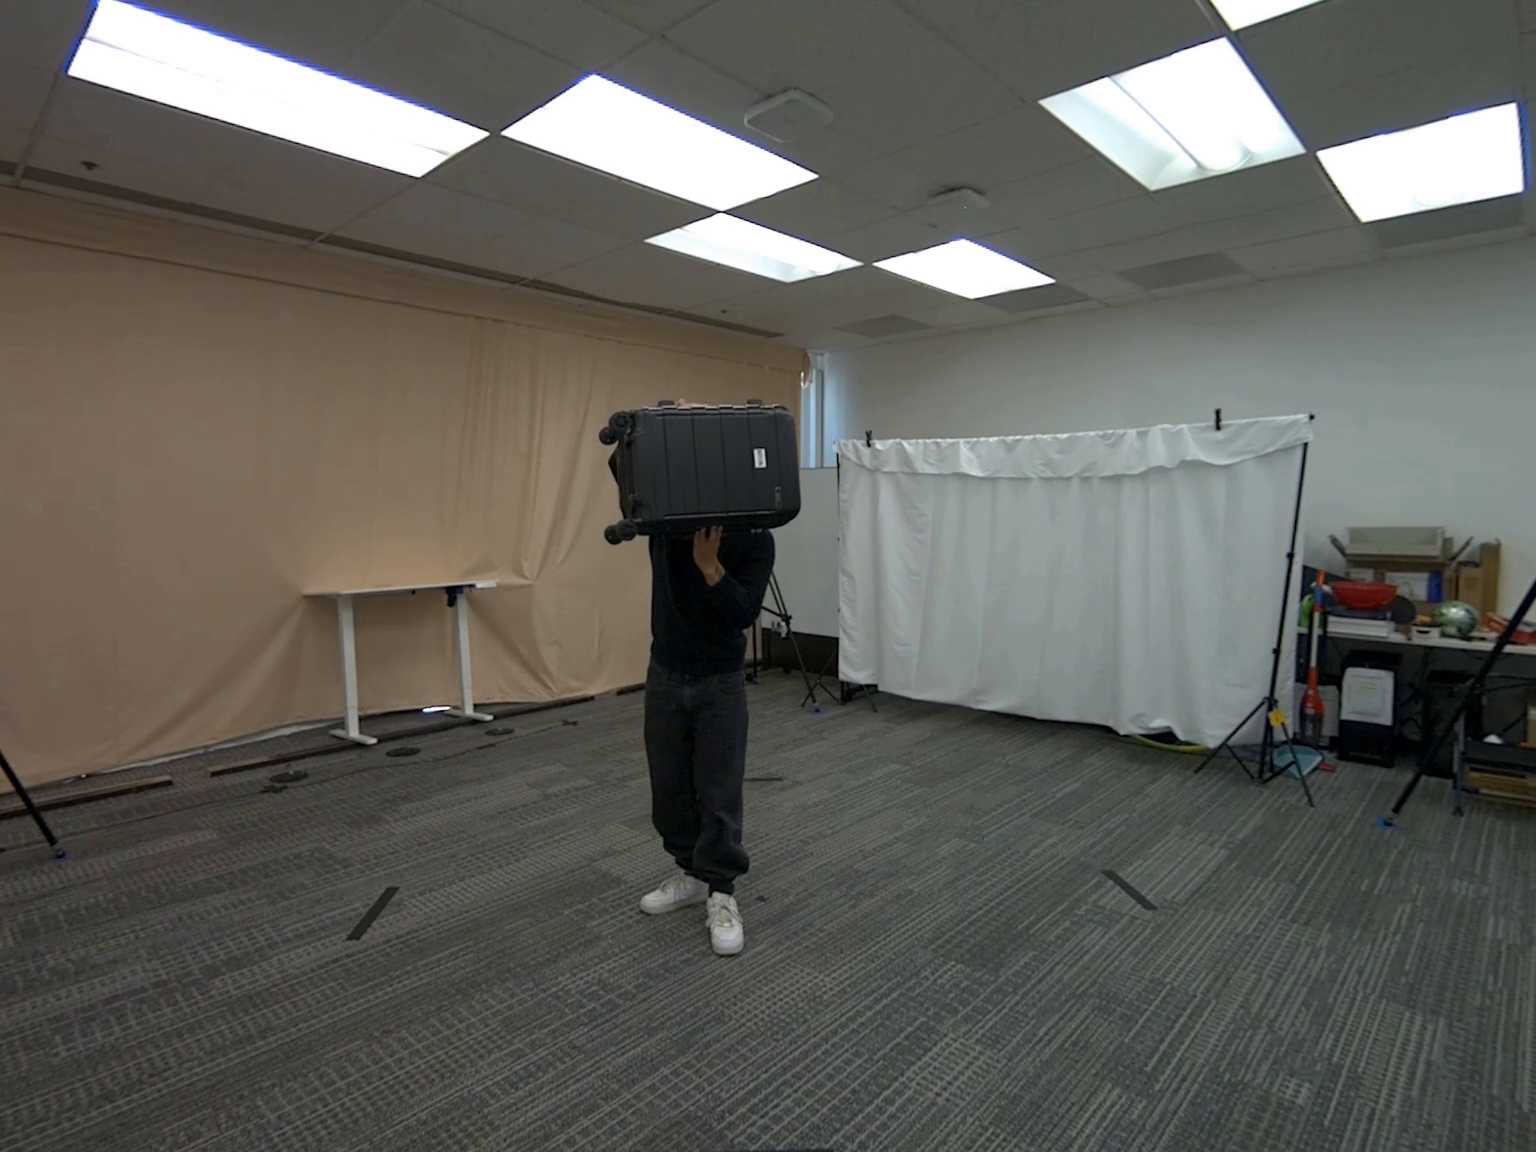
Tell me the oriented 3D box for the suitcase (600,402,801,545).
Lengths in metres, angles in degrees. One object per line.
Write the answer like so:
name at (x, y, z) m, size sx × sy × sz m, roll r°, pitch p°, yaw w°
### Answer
suitcase at (-0.181, -0.302, 2.427) m, size 0.542 × 0.376 × 0.251 m, roll -3°, pitch -1°, yaw -13°
